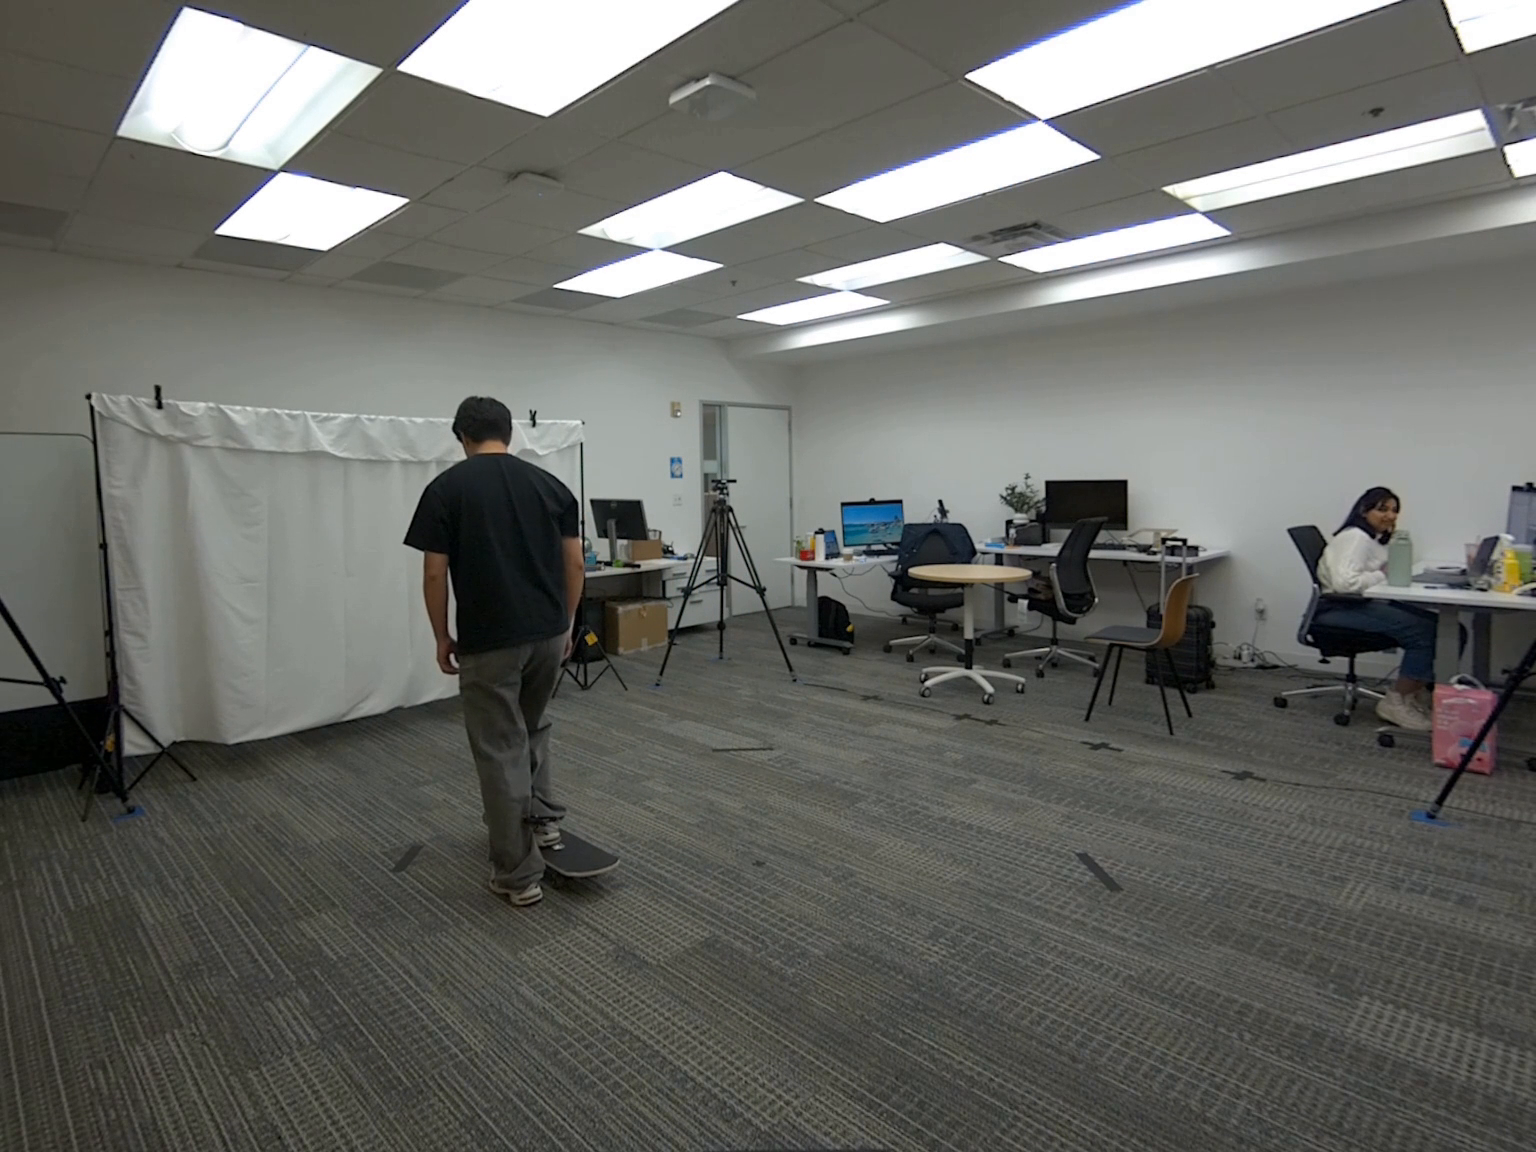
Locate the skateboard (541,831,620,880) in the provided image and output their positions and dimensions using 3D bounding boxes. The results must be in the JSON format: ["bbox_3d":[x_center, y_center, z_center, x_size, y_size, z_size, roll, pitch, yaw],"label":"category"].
[{"bbox_3d":[-0.805,1.010,3.151,0.188,0.110,0.810,-6,8,-44],"label":"skateboard"}]
